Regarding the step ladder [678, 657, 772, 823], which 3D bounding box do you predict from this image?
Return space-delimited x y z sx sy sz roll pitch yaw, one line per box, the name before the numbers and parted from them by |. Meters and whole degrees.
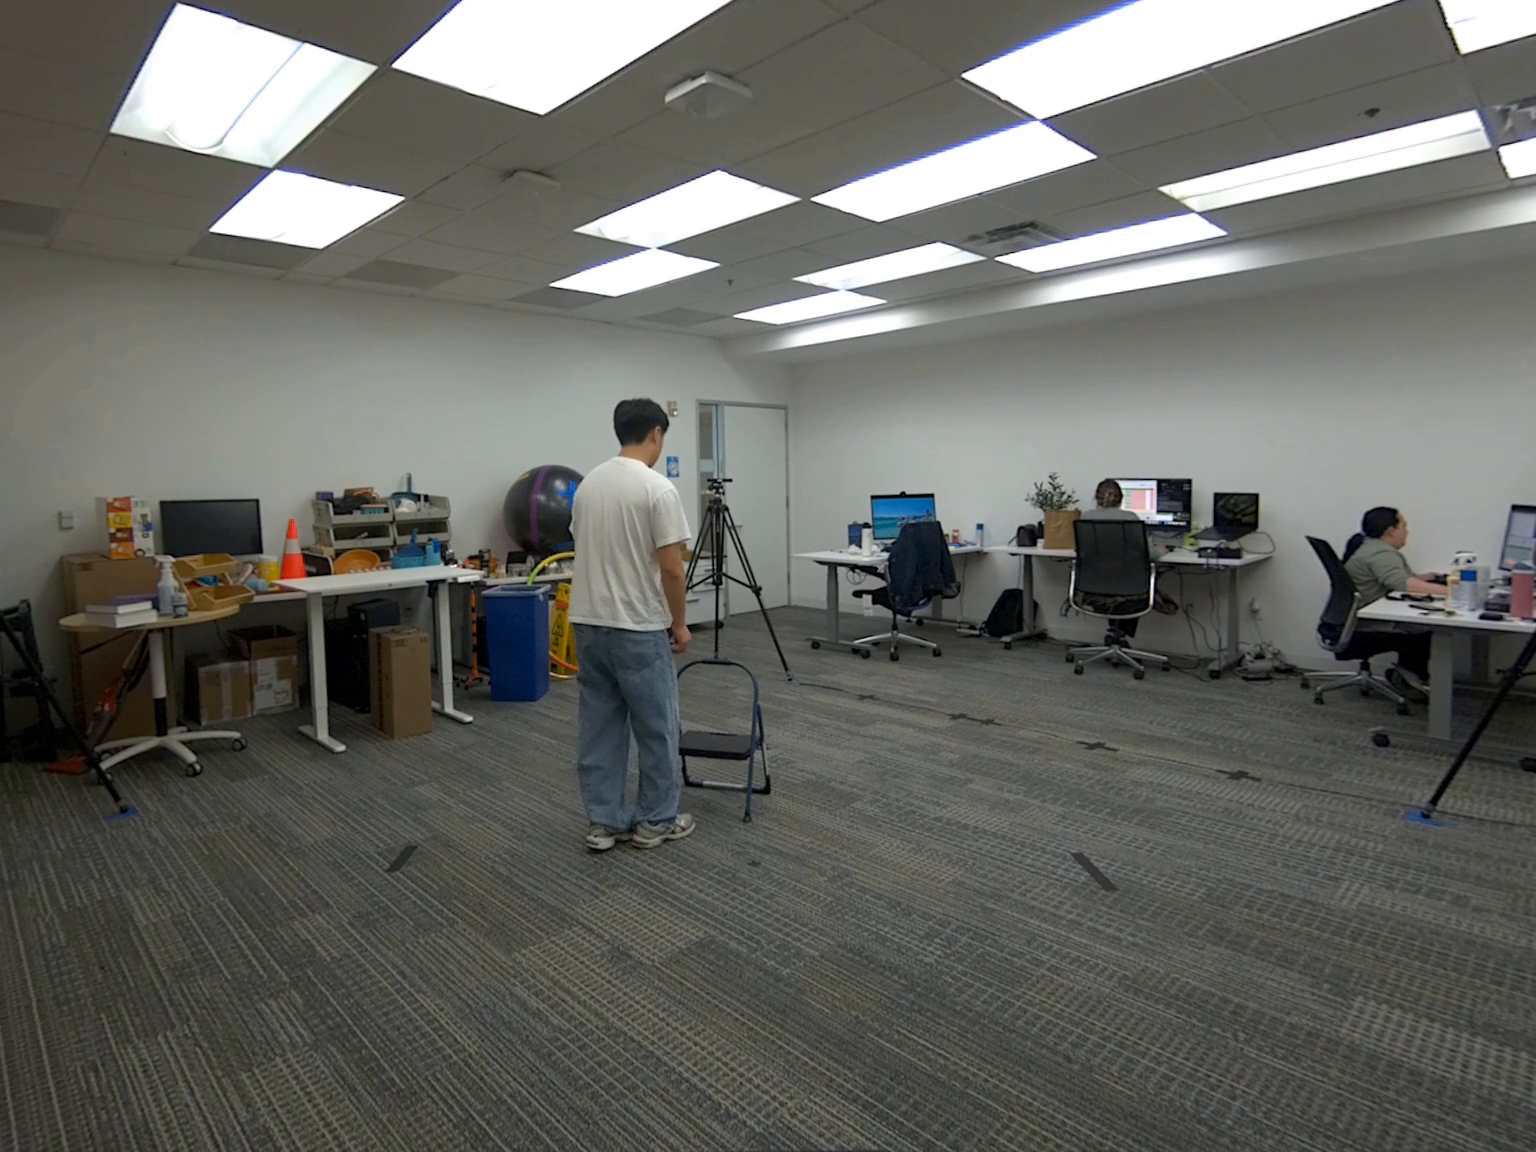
step ladder | -0.236 0.679 3.696 0.438 0.604 0.344 0 4 18
